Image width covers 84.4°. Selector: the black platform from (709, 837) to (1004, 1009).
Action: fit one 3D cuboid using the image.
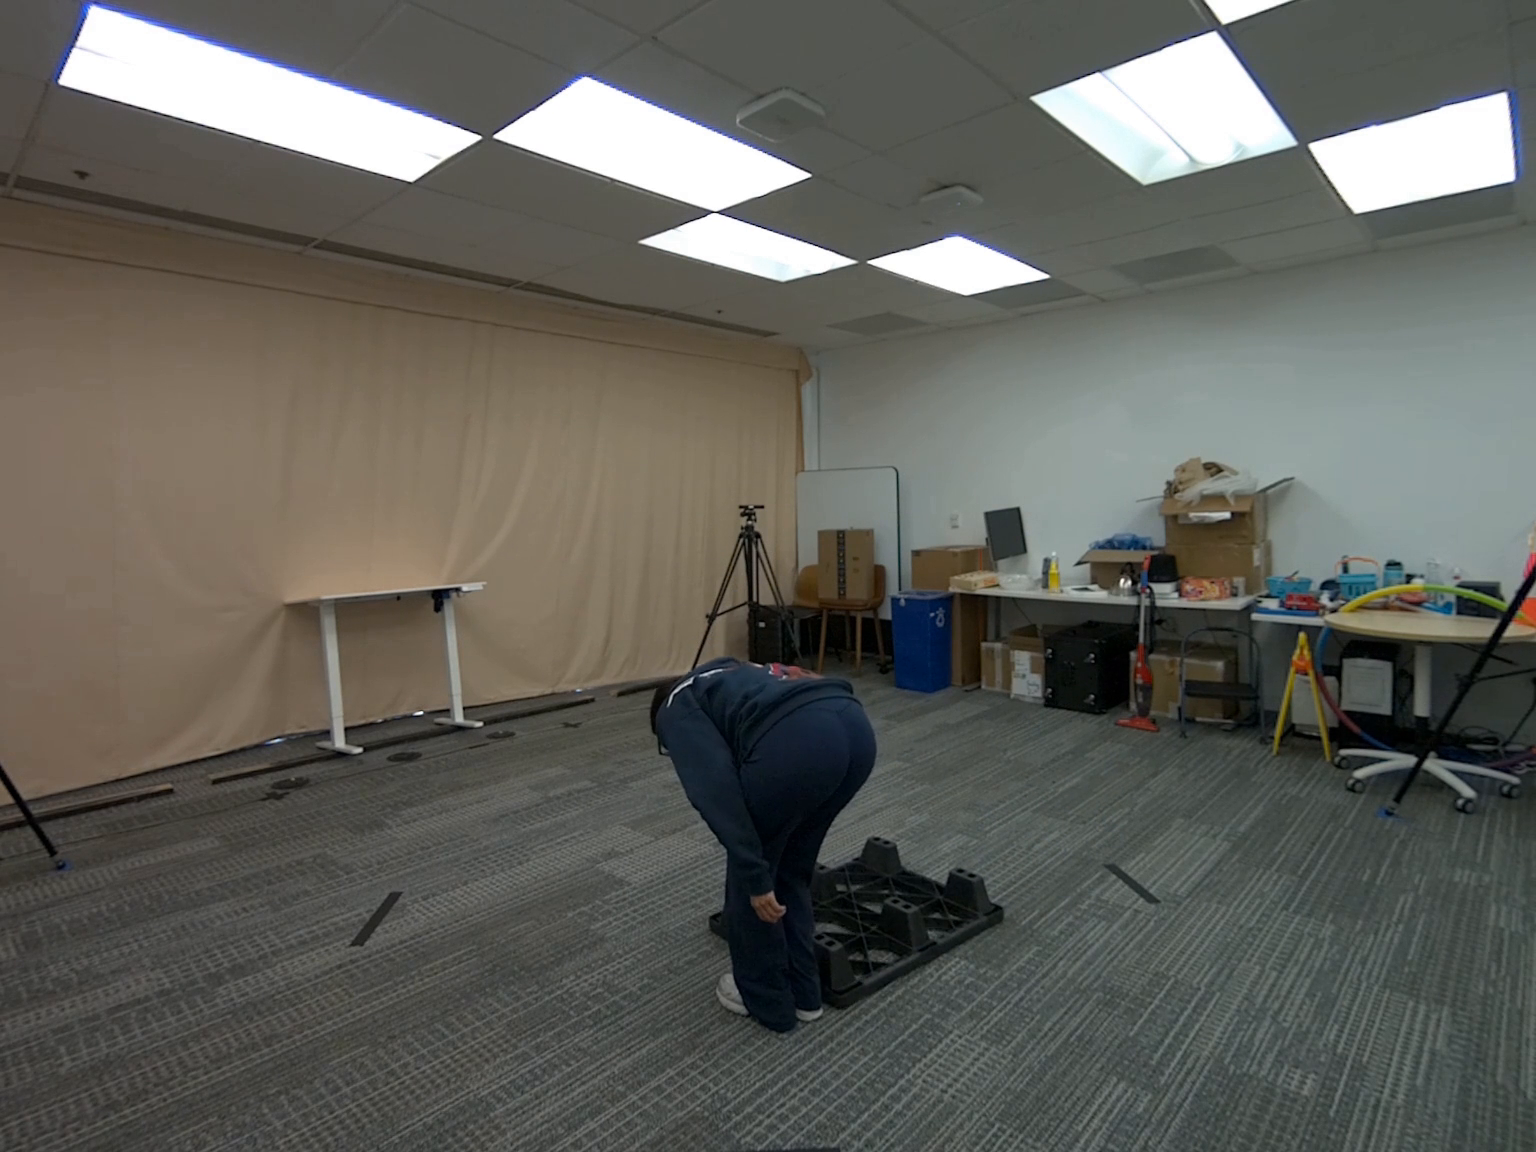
[{"bbox_3d":[0.300,1.080,2.783,0.781,0.143,0.625,-4,6,-41],"label":"black platform"}]
